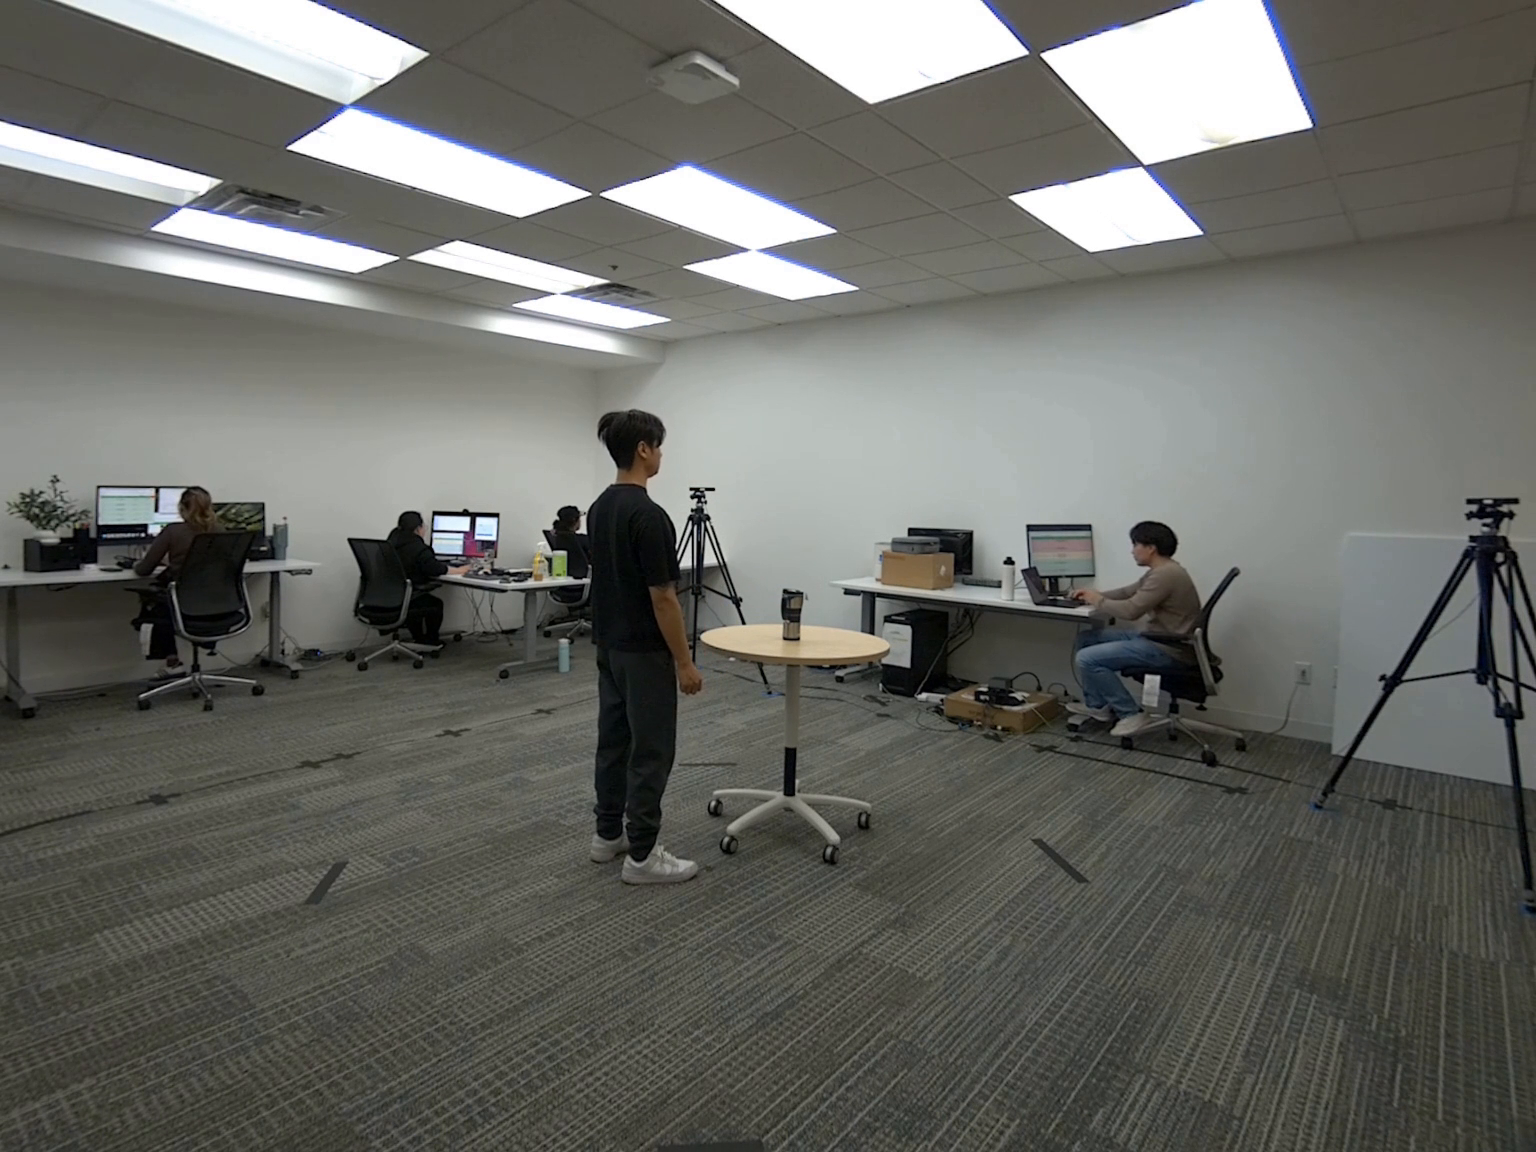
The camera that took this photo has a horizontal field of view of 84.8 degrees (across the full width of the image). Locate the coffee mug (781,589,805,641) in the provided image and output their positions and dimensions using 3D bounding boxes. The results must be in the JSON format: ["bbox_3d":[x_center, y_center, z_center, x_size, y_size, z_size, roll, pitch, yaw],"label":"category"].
[{"bbox_3d":[0.070,0.158,3.437,0.118,0.202,0.091,3,6,-40],"label":"coffee mug"}]
